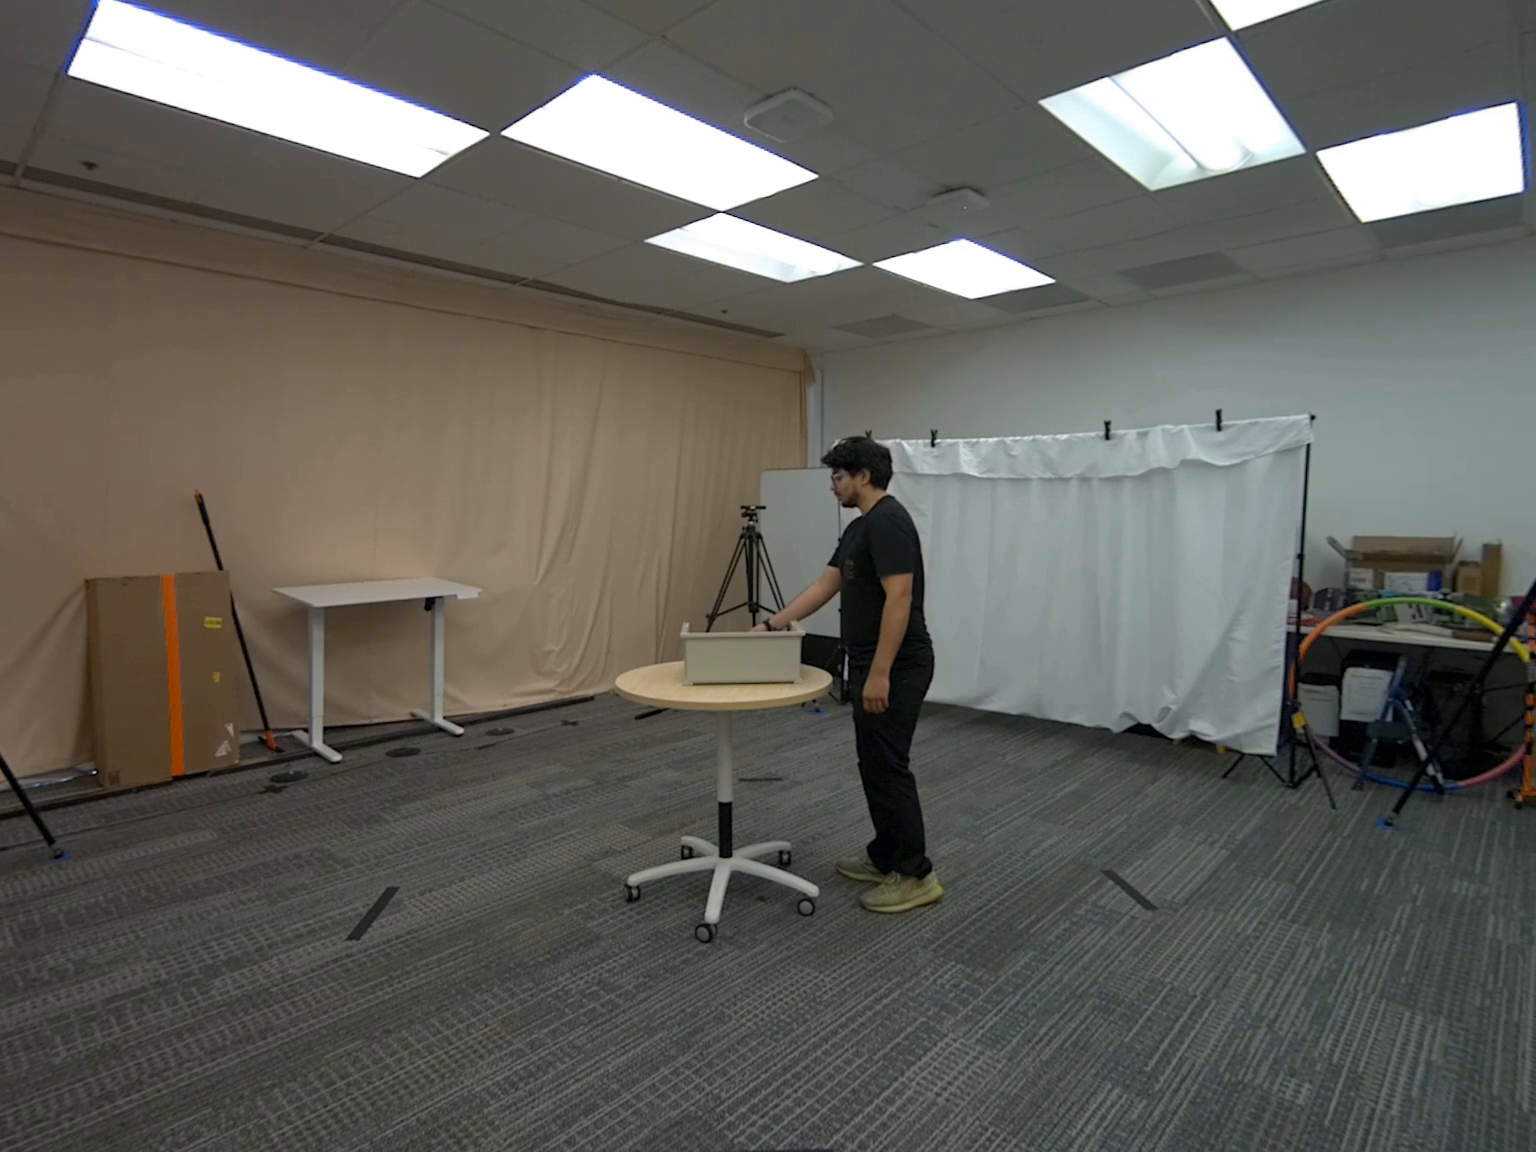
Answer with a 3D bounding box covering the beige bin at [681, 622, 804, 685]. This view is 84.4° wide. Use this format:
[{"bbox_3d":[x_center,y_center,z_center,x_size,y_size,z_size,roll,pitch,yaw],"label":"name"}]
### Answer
[{"bbox_3d":[-0.096,0.272,3.038,0.422,0.188,0.379,0,5,-2],"label":"beige bin"}]
